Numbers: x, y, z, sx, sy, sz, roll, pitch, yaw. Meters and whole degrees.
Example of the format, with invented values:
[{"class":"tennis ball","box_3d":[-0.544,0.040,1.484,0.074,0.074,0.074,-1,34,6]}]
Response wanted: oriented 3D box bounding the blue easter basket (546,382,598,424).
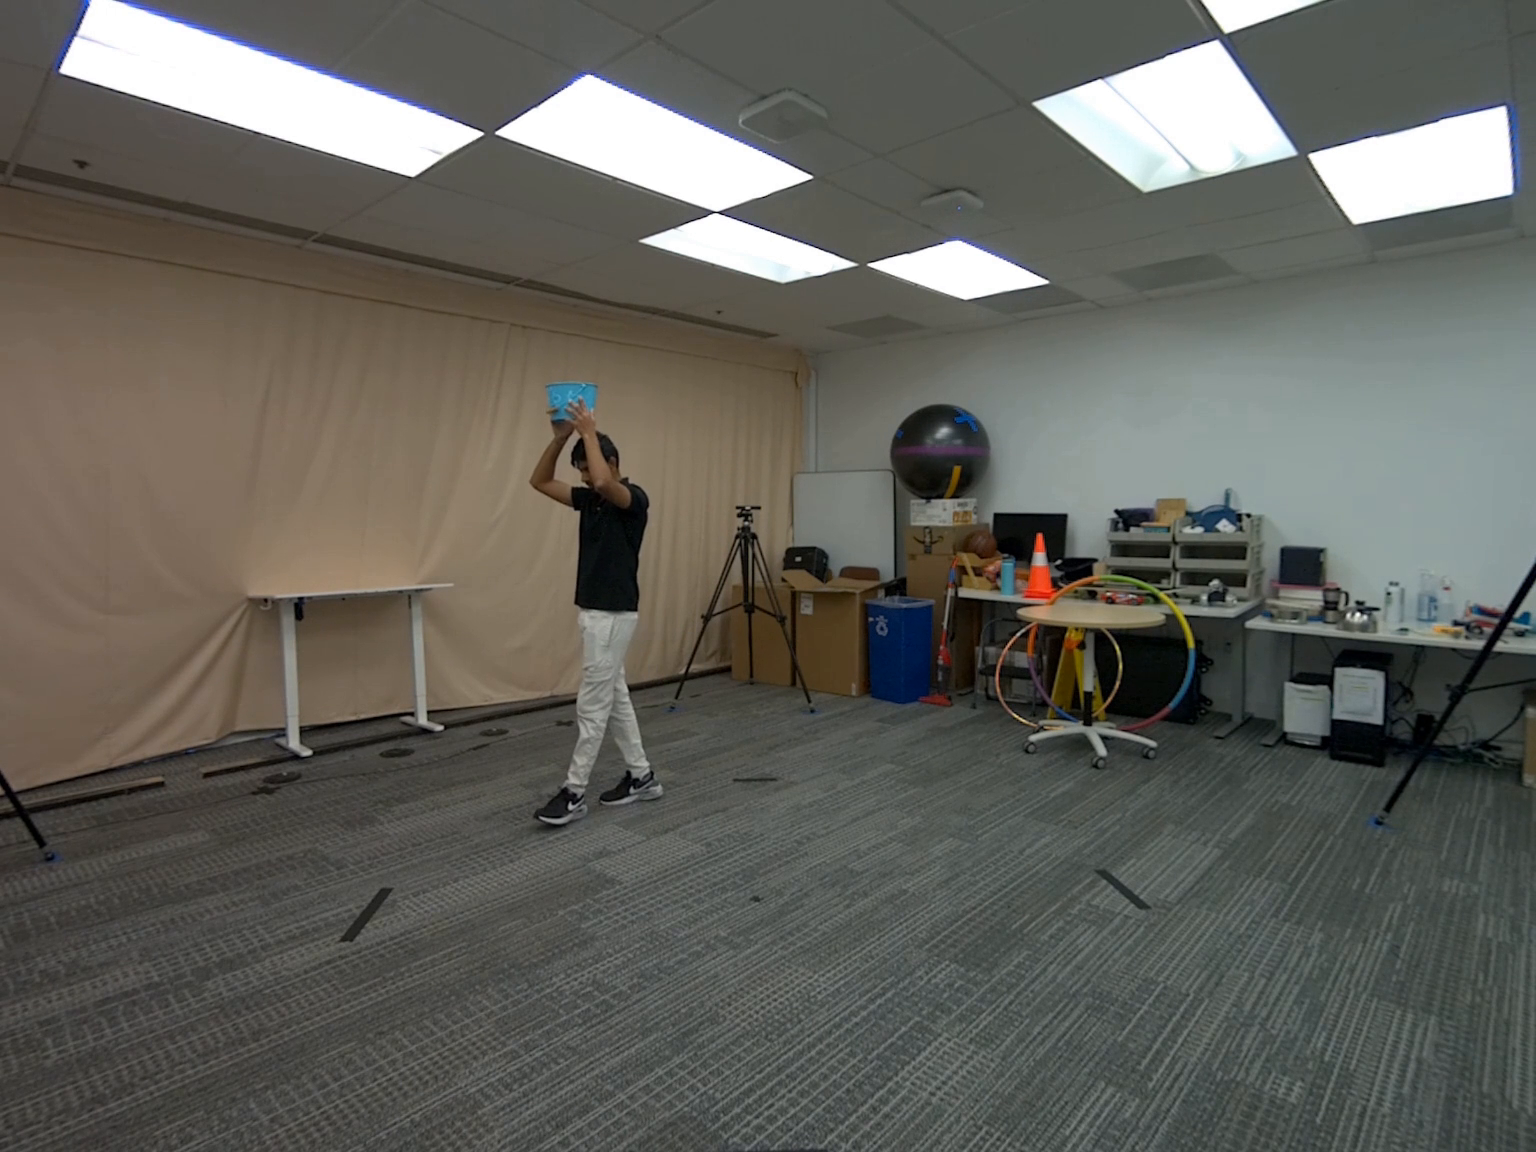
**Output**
[{"class":"blue easter basket","box_3d":[-0.879,-0.770,3.748,0.243,0.155,0.244,-1,3,-2]}]
